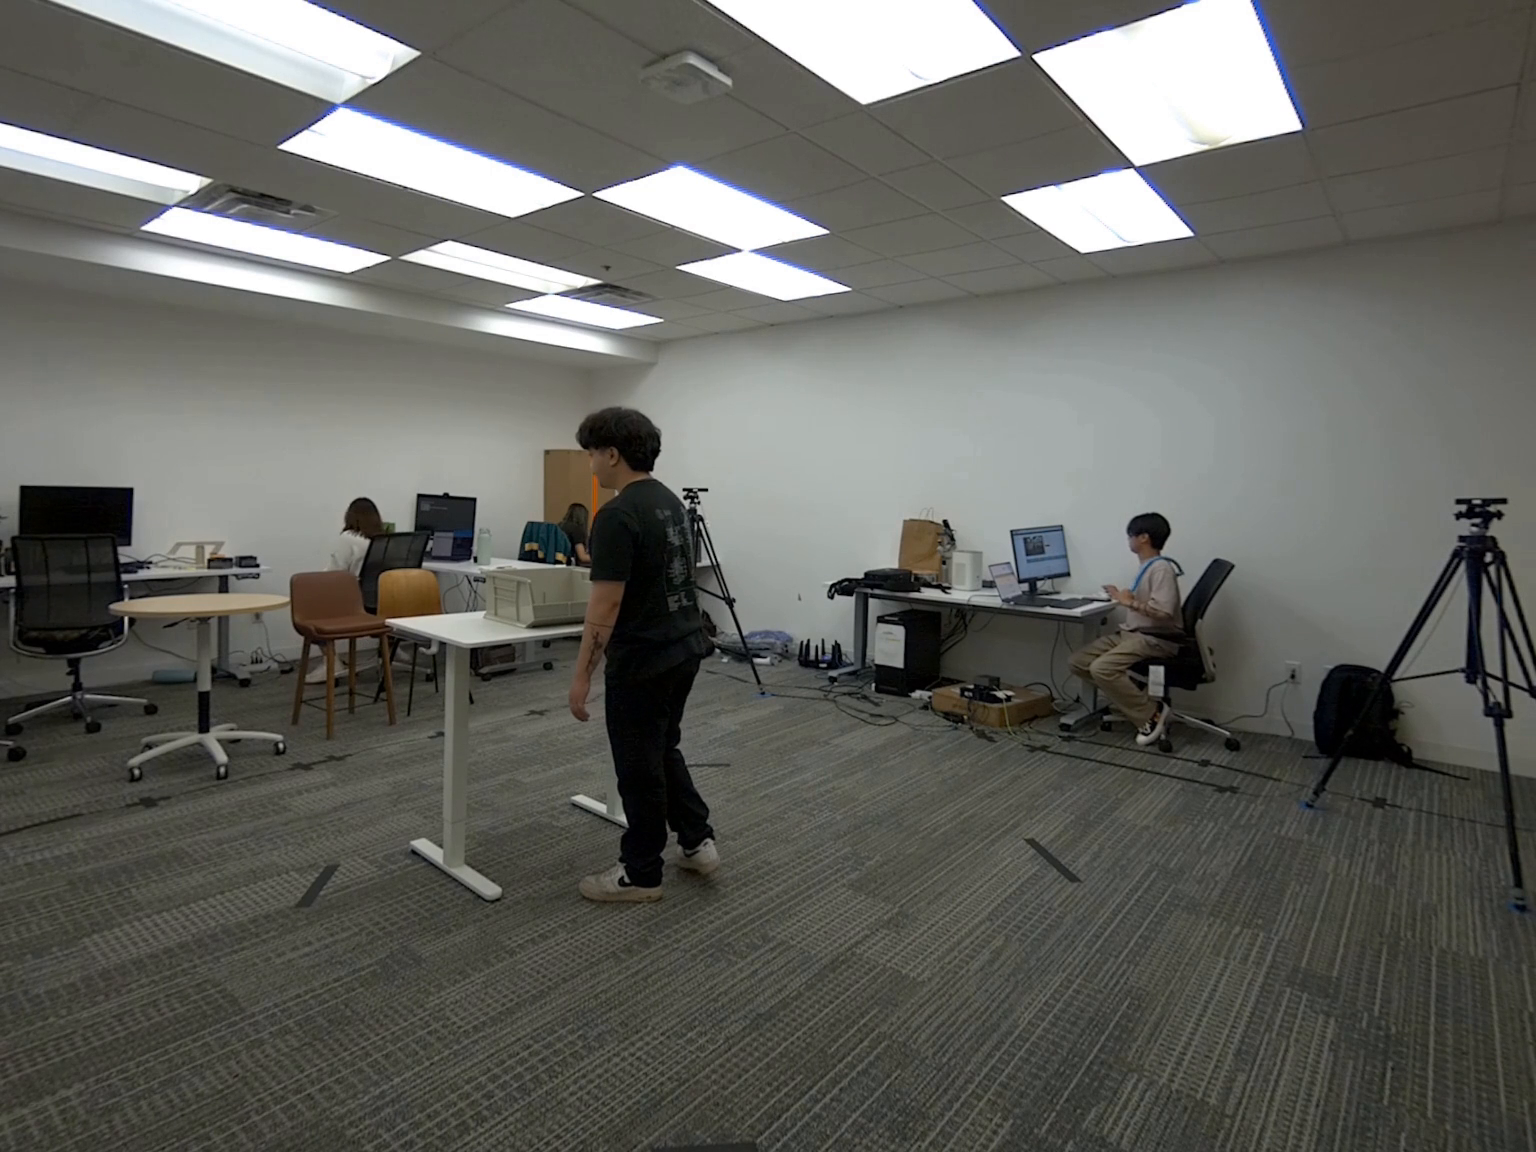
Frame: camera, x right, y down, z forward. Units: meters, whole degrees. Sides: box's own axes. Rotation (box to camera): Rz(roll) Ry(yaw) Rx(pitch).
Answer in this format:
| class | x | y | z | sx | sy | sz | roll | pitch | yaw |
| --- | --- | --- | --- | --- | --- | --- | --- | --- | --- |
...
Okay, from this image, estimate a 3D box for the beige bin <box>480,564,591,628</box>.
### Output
| class | x | y | z | sx | sy | sz | roll | pitch | yaw |
| --- | --- | --- | --- | --- | --- | --- | --- | --- | --- |
| beige bin | -0.828 | 0.077 | 3.255 | 0.409 | 0.188 | 0.390 | -4 | 6 | -44 |
